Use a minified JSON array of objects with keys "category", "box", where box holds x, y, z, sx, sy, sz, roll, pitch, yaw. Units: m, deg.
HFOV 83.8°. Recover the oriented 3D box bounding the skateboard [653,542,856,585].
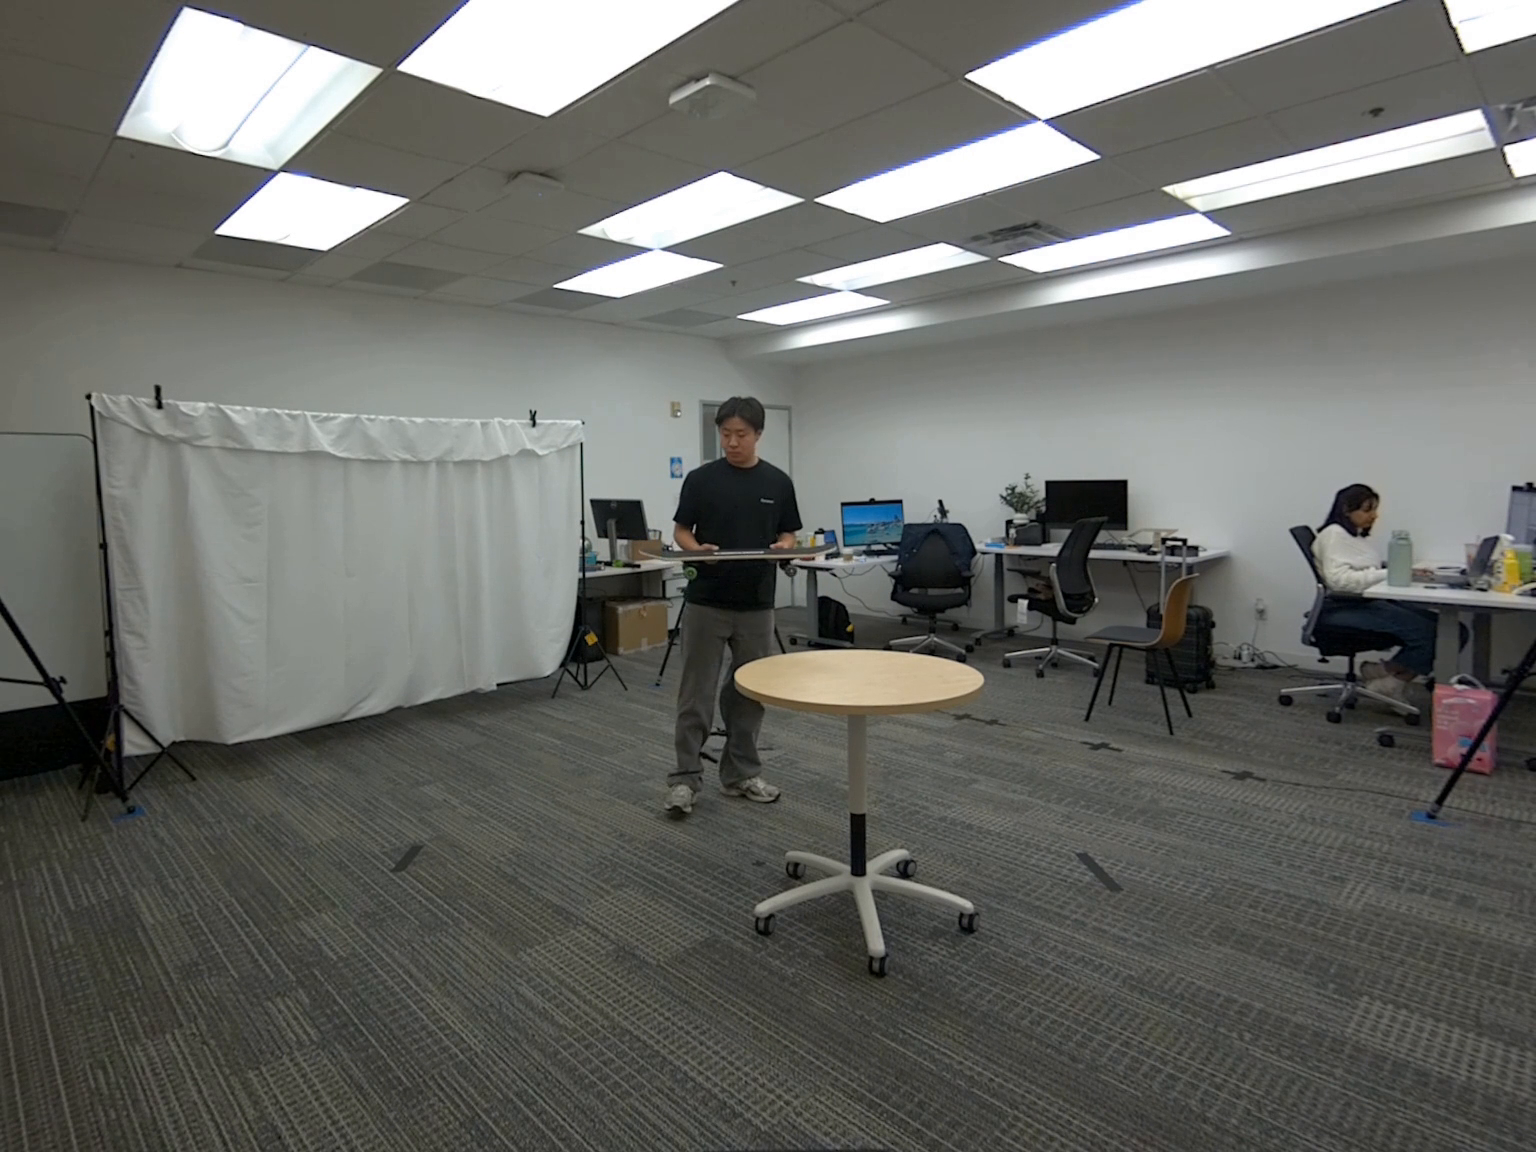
[{"category":"skateboard","box":[-0.061,-0.055,3.423,0.781,0.109,0.196,-2,10,-6]}]
